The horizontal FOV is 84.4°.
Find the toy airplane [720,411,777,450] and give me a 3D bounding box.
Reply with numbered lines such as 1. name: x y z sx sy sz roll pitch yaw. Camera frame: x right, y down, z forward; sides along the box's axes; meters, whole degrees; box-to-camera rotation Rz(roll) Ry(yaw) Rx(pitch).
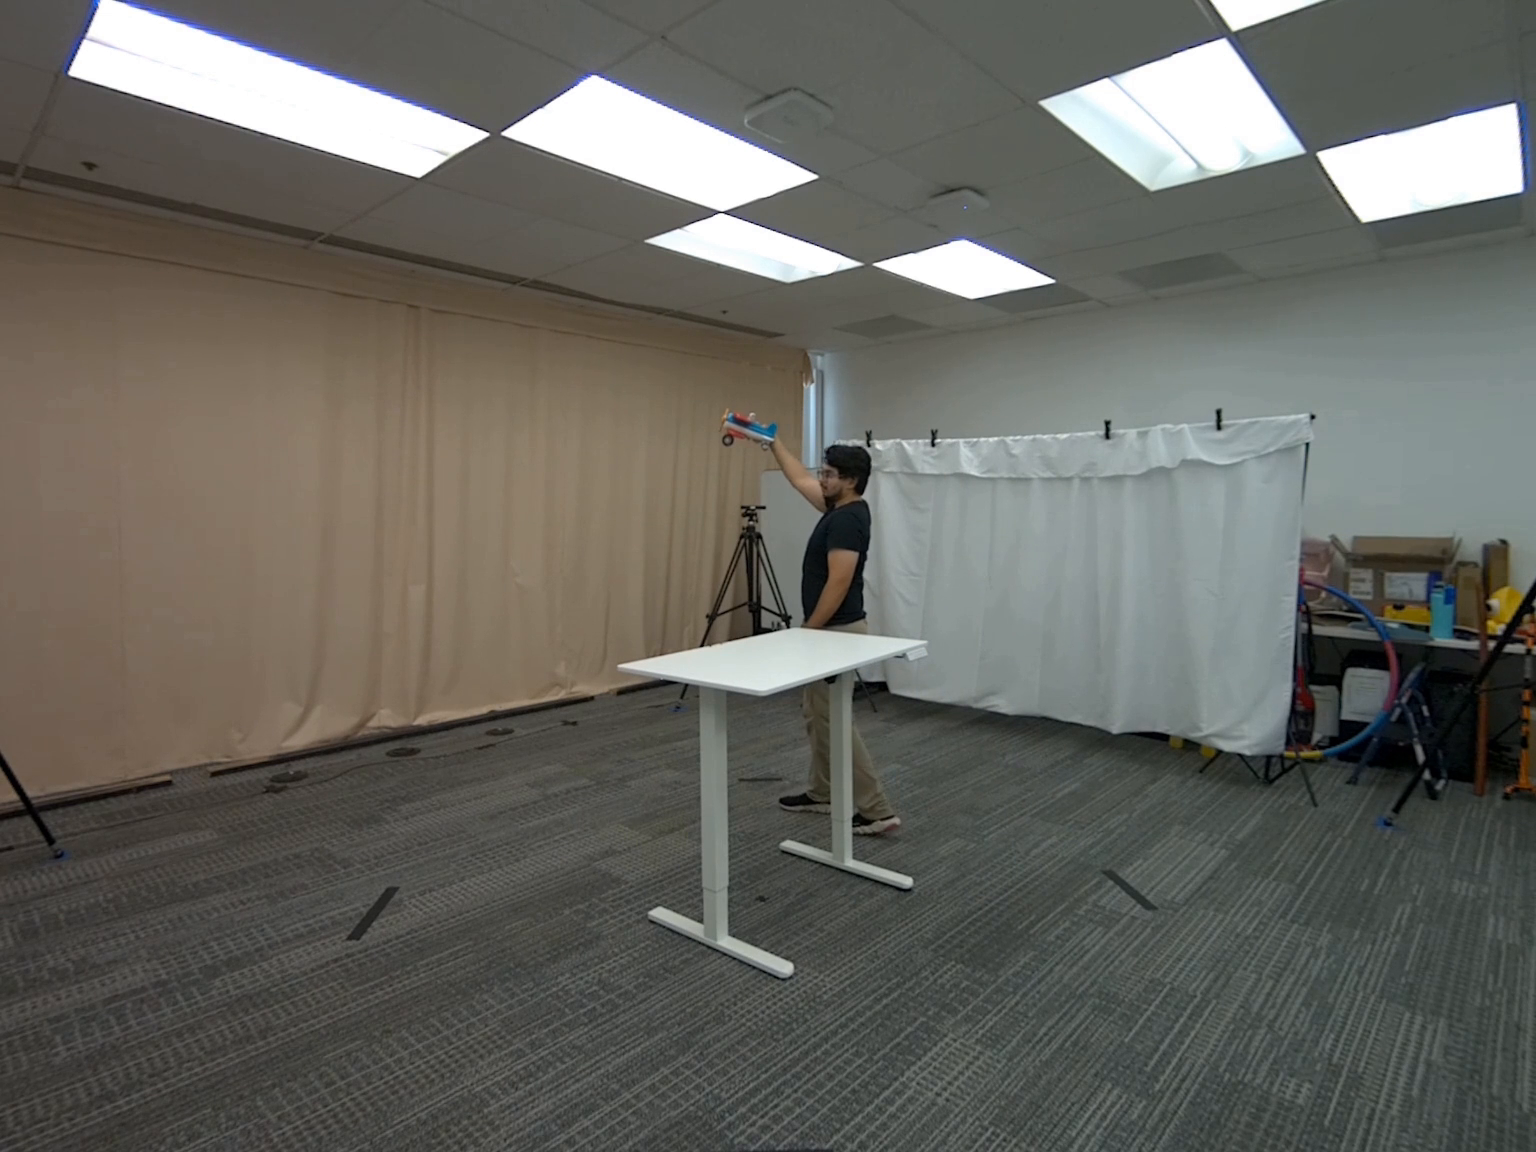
1. toy airplane: -0.094 -0.681 3.945 0.253 0.155 0.259 0 15 -26
